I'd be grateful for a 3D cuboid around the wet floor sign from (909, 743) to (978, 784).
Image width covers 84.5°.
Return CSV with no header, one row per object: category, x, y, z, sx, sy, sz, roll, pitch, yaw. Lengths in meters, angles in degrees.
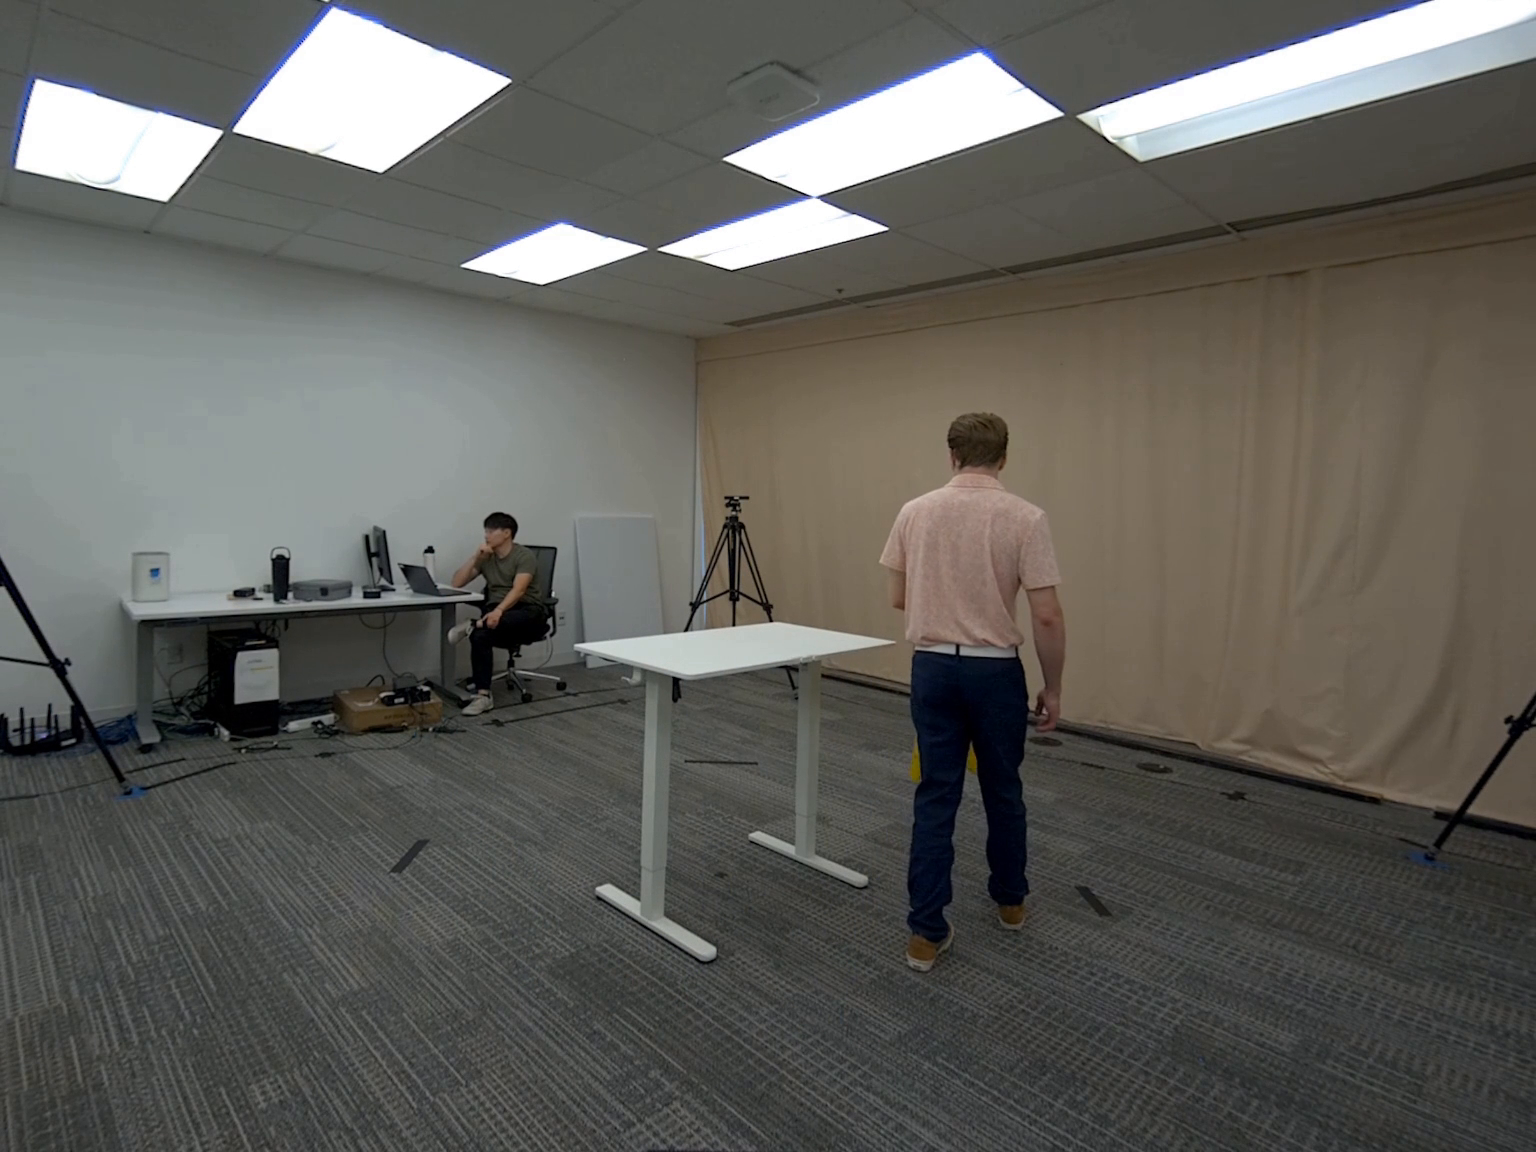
wet floor sign,0.674,0.448,3.030,0.287,0.643,0.286,-3,6,-11
